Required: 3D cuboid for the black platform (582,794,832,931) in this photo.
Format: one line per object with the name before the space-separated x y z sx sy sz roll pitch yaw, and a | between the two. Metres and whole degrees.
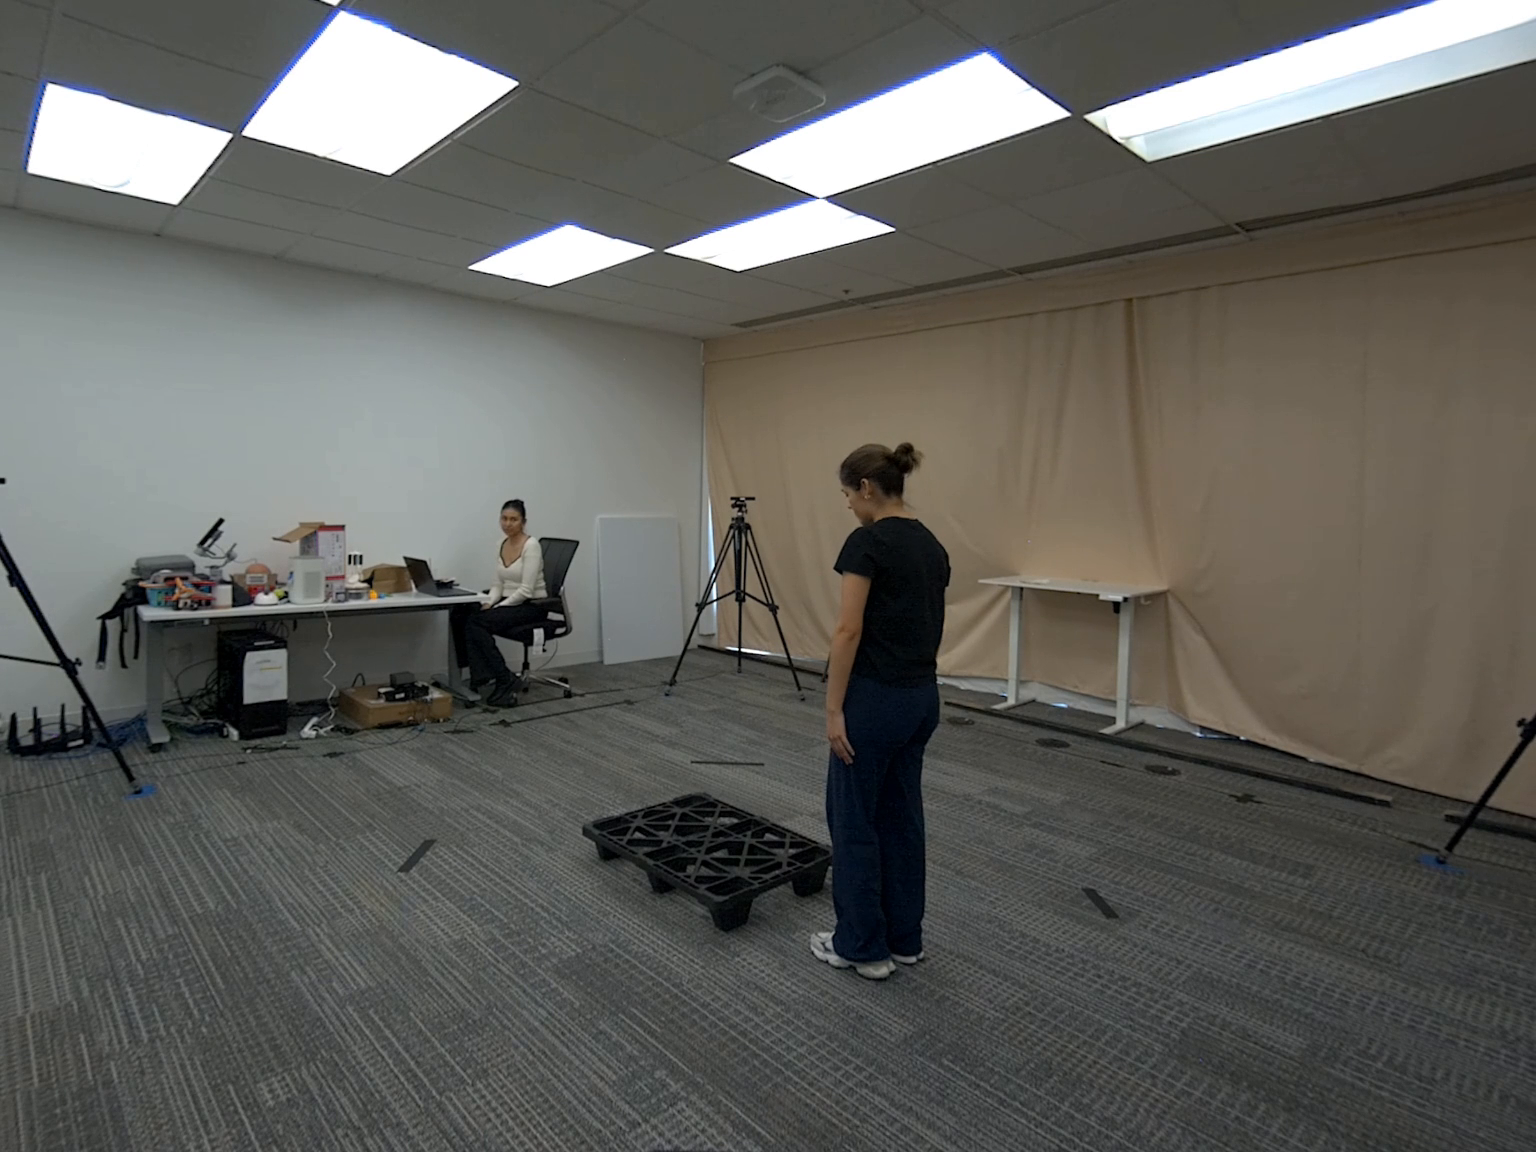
black platform | -0.229 1.041 3.102 0.592 0.143 0.826 -5 8 -43
